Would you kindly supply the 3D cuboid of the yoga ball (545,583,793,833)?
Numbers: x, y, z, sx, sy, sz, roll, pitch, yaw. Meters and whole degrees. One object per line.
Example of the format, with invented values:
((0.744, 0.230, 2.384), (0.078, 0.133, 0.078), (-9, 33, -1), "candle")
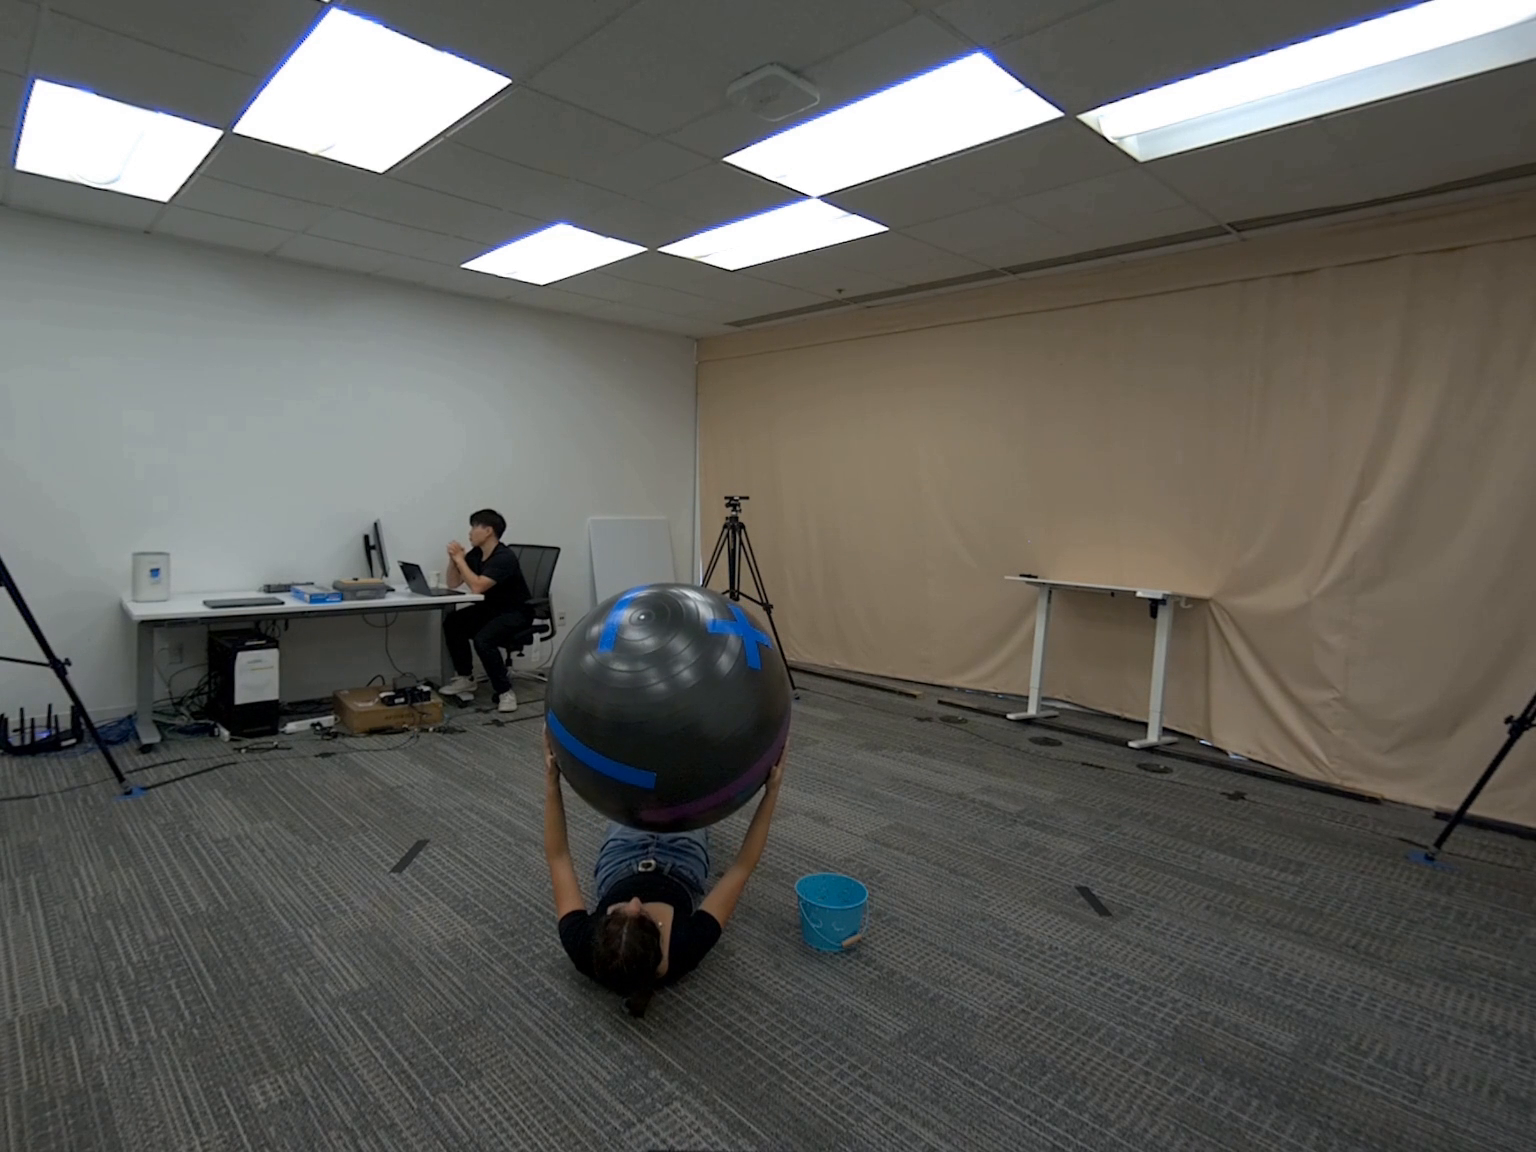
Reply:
((-0.314, 0.405, 2.602), (0.757, 0.756, 0.761), (1, 4, -1), "yoga ball")
